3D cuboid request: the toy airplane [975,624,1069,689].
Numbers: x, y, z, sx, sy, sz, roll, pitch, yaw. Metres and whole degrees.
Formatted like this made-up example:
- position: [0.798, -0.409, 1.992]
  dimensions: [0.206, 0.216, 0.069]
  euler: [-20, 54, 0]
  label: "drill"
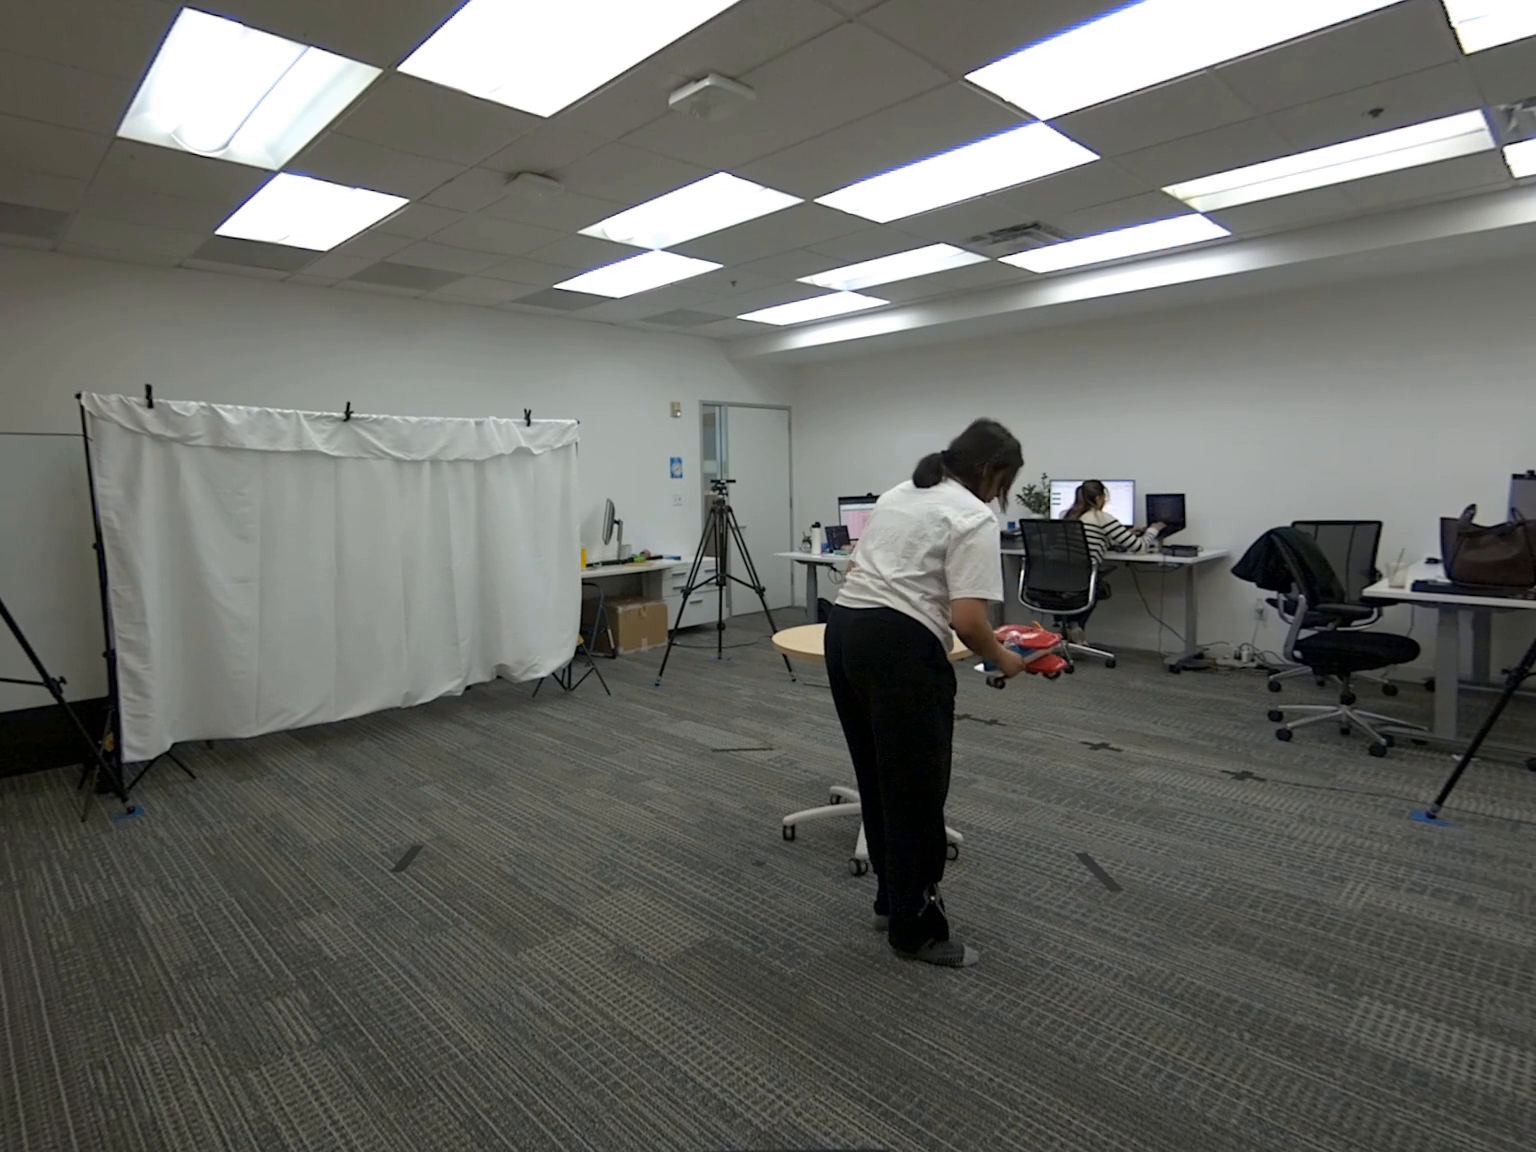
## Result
- position: [0.767, 0.254, 2.600]
  dimensions: [0.259, 0.155, 0.253]
  euler: [4, 11, 42]
  label: "toy airplane"
